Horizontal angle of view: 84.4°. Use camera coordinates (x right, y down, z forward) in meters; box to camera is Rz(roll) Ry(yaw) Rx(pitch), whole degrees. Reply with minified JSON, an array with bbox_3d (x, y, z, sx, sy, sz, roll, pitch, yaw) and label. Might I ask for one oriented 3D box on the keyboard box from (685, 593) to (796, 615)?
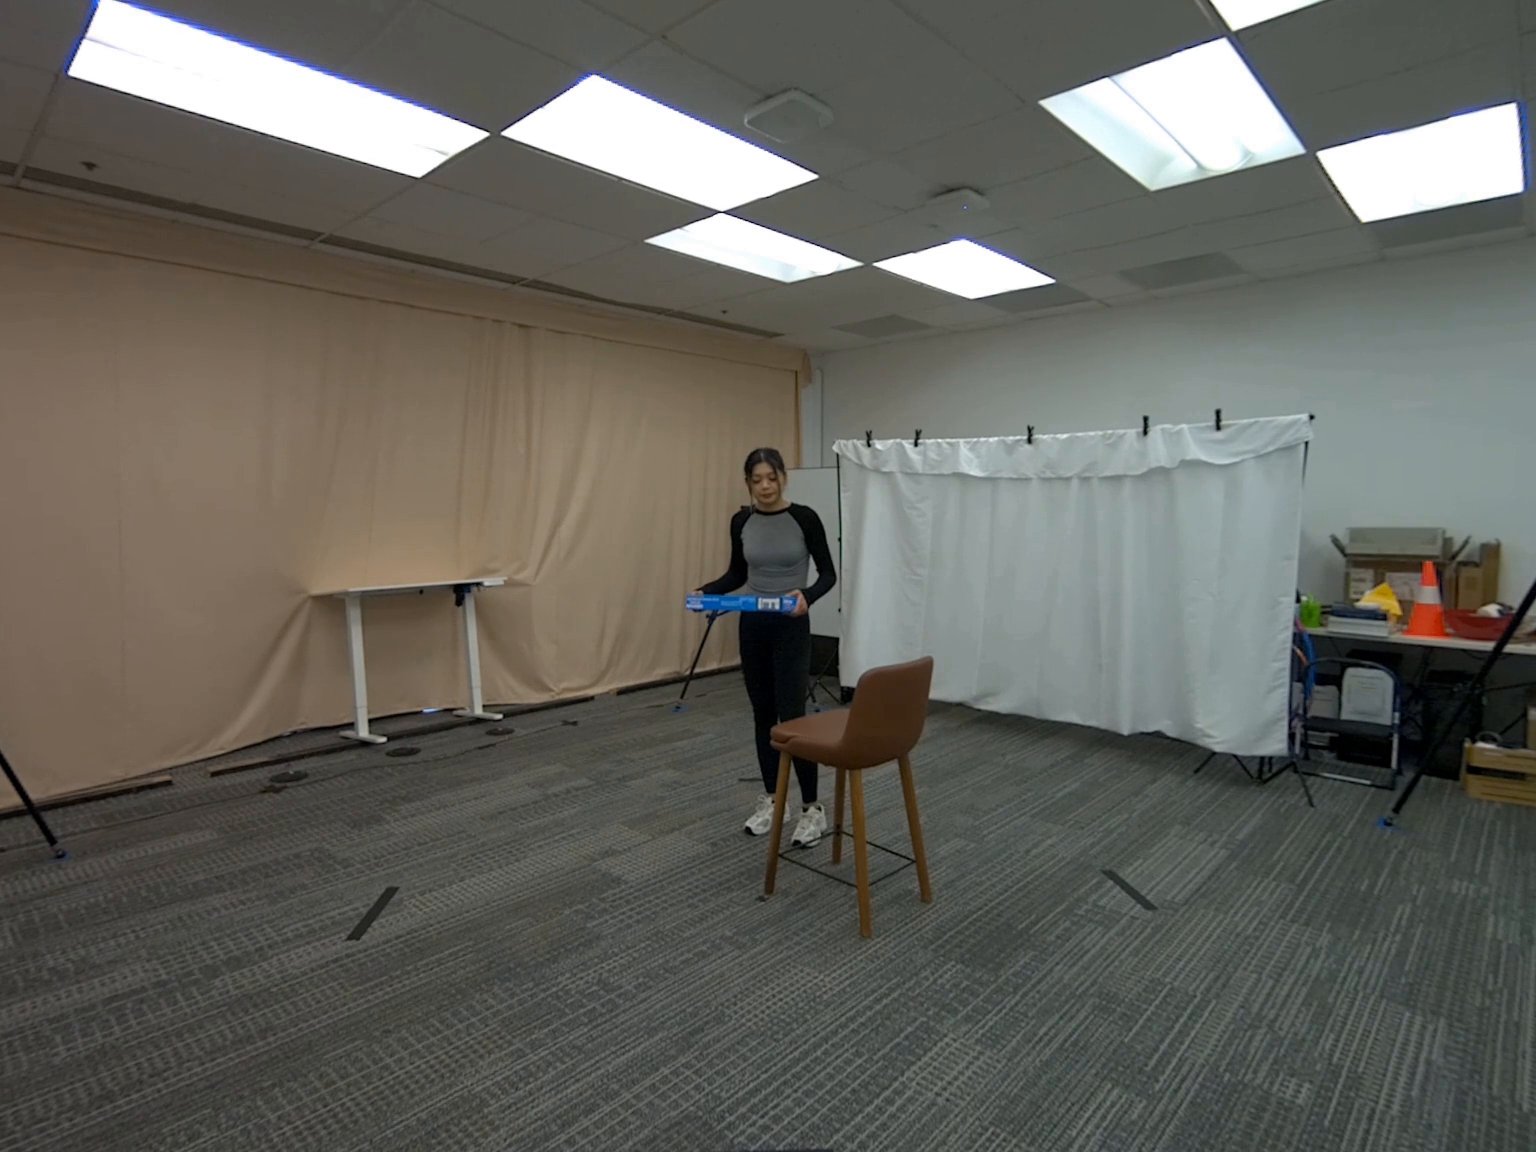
[{"bbox_3d":[-0.101,0.109,3.372,0.449,0.059,0.170,0,-3,31],"label":"keyboard box"}]
